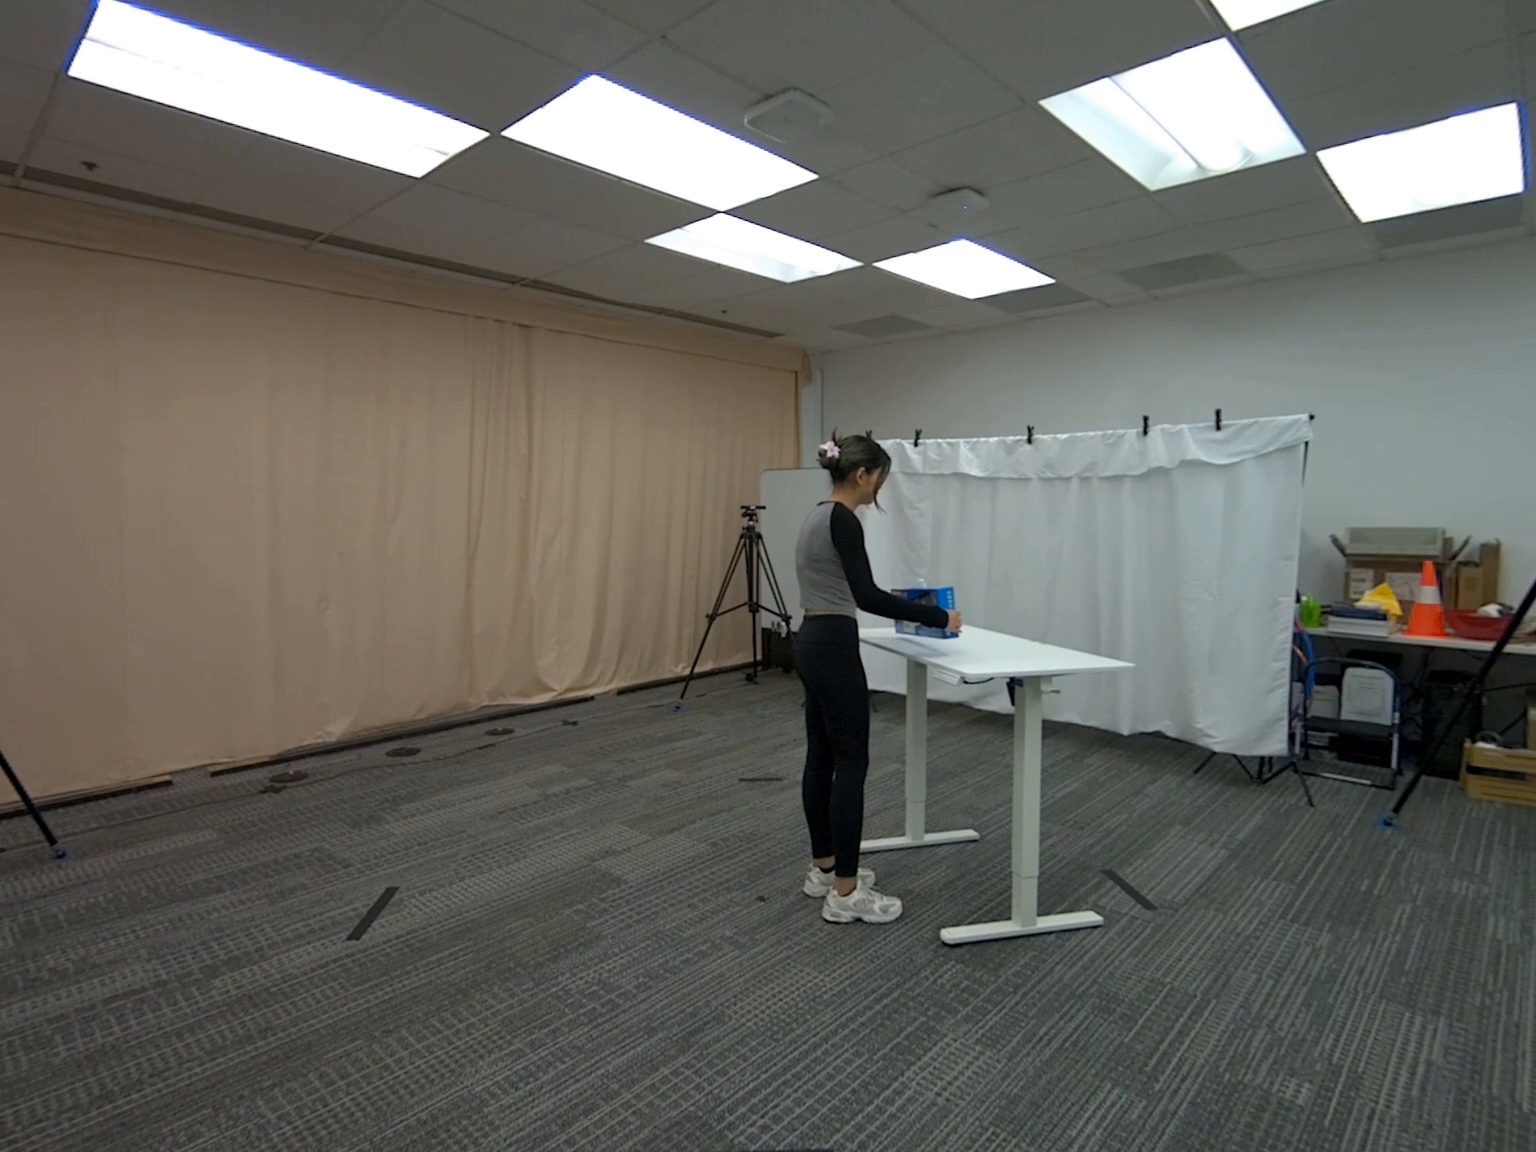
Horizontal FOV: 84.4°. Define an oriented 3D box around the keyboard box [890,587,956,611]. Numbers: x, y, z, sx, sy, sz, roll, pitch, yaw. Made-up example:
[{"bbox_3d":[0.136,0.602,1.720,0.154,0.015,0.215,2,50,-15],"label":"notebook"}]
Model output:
[{"bbox_3d":[0.562,0.130,3.020,0.058,0.176,0.441,-6,-1,-12],"label":"keyboard box"}]
